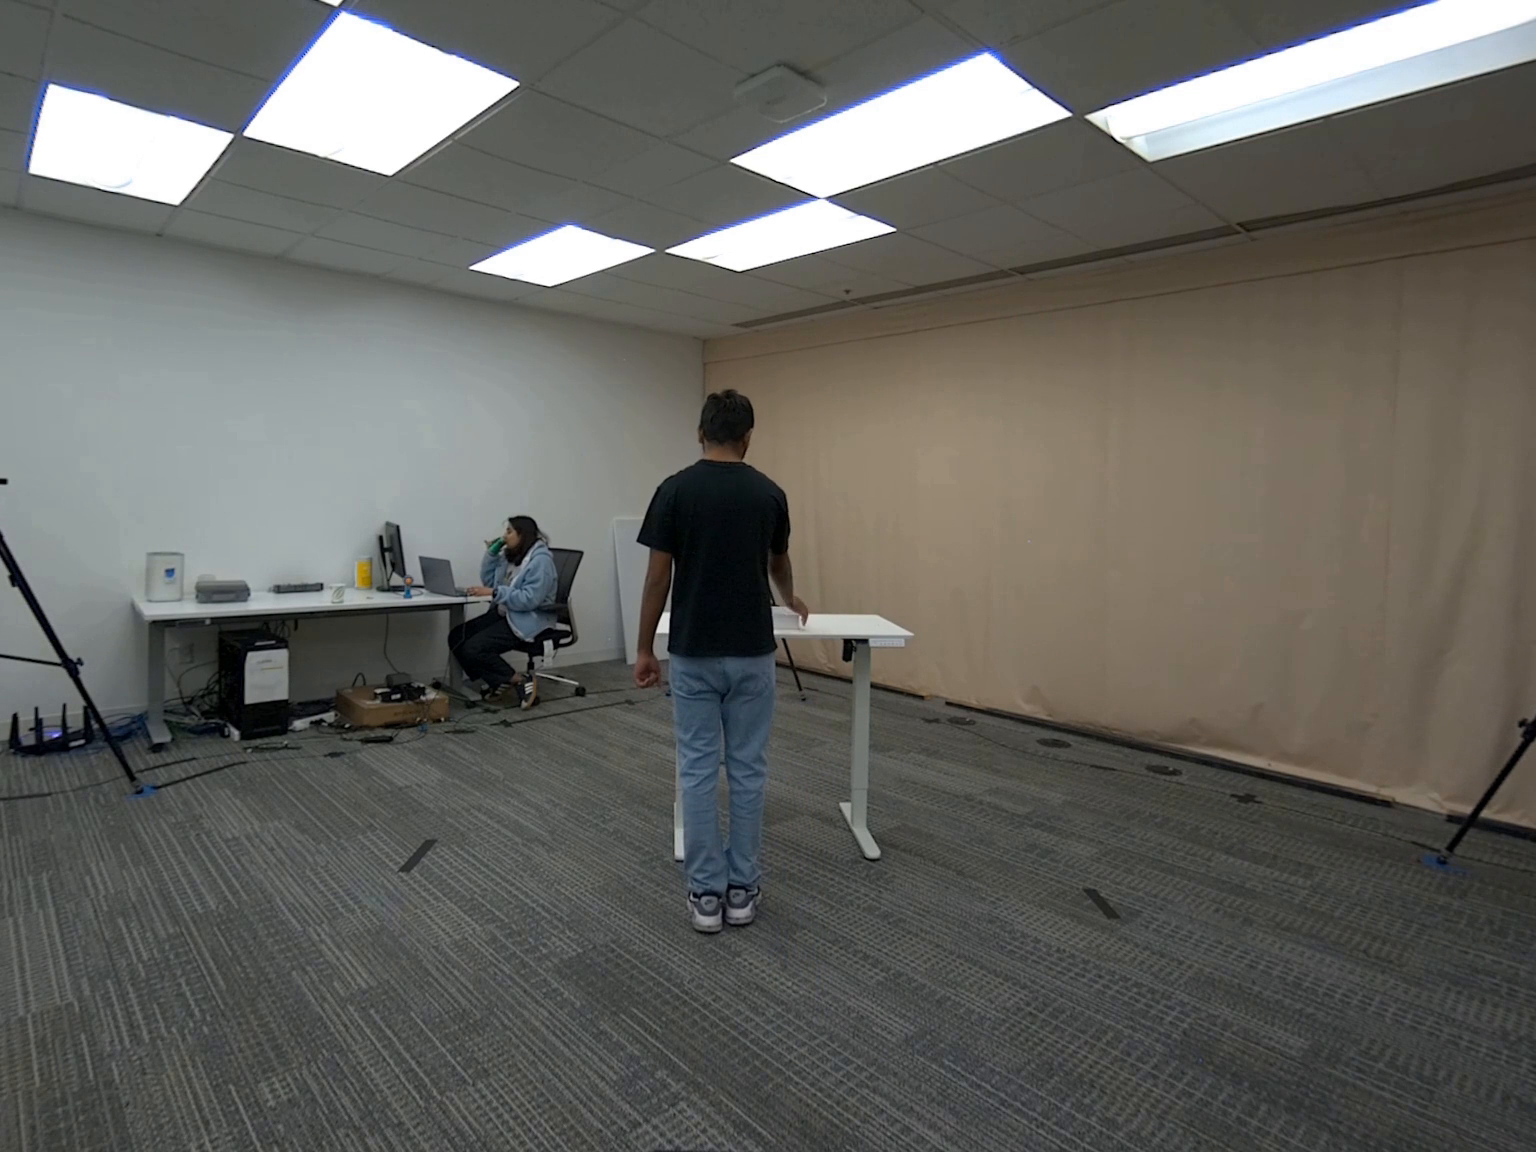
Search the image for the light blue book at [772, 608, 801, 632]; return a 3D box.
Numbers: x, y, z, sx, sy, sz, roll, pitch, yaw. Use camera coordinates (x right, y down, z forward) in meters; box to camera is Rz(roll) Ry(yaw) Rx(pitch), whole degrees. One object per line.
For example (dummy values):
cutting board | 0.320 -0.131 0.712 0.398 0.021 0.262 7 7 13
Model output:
light blue book | 0.029 0.174 3.444 0.192 0.059 0.261 2 4 1
